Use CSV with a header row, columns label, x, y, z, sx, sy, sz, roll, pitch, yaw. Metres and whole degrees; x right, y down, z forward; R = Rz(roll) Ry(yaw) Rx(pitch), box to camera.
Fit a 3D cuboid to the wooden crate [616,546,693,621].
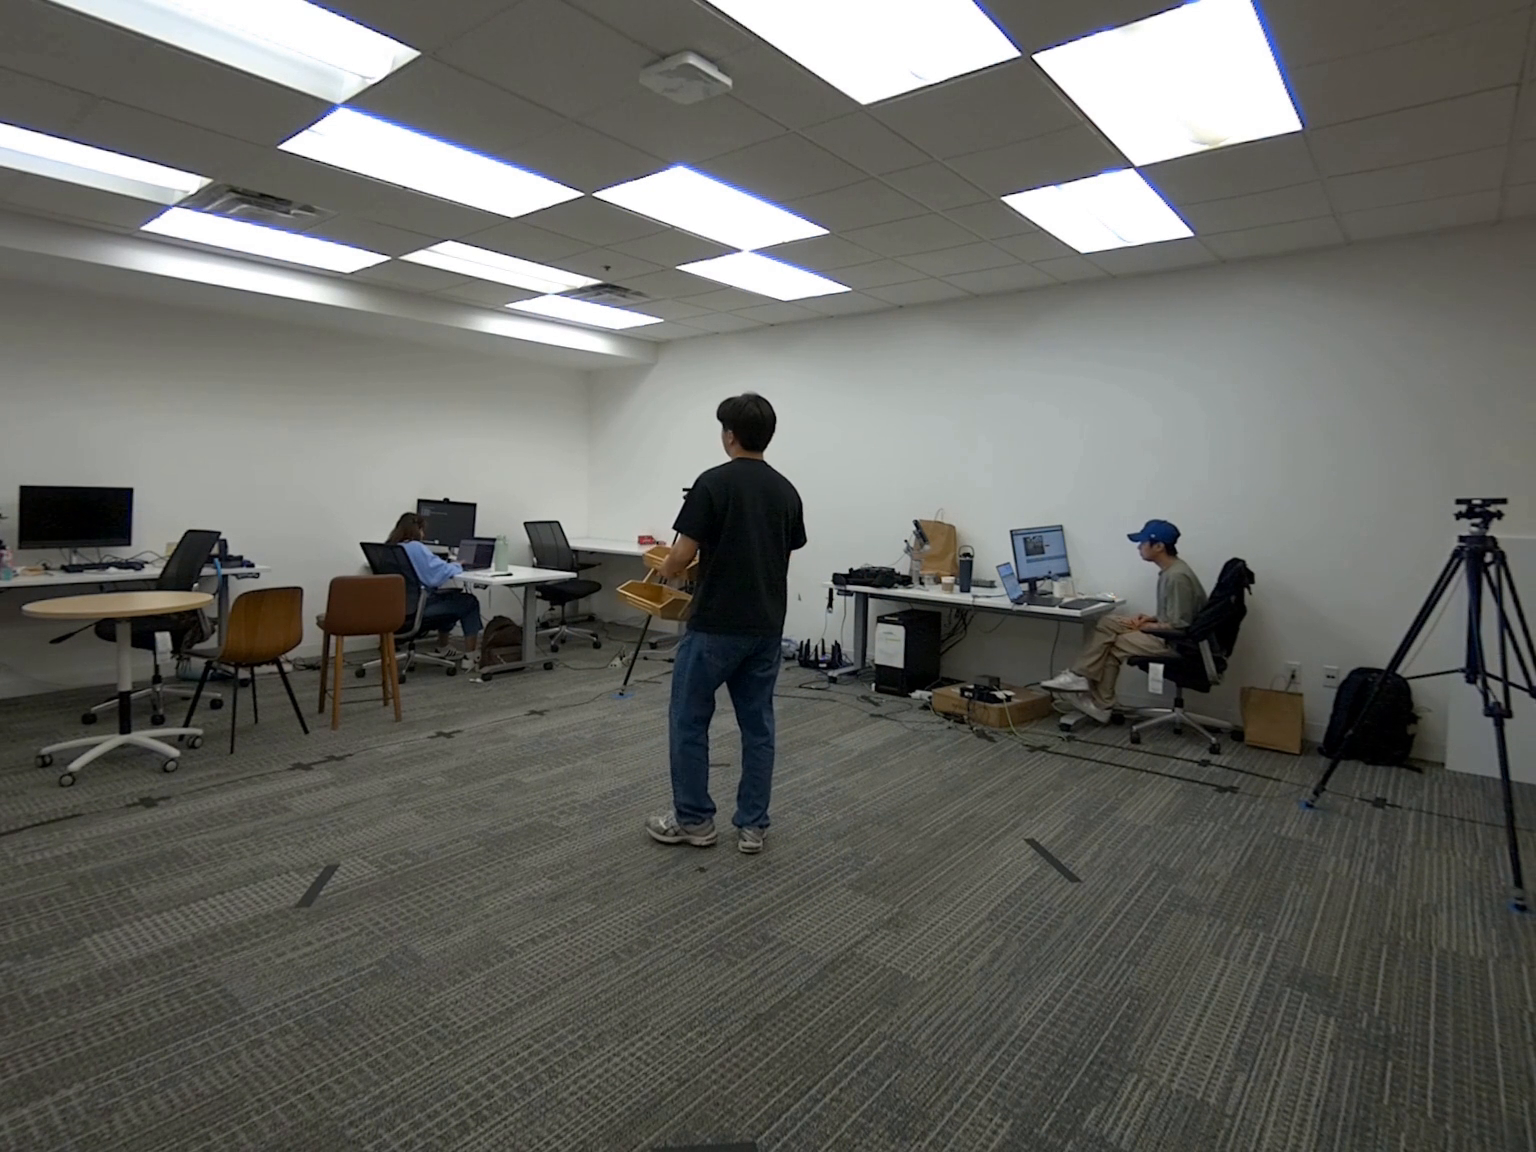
label,x,y,z,sx,sy,sz,roll,pitch,yaw
wooden crate,-0.428,0.019,3.569,0.337,0.273,0.291,17,4,44
